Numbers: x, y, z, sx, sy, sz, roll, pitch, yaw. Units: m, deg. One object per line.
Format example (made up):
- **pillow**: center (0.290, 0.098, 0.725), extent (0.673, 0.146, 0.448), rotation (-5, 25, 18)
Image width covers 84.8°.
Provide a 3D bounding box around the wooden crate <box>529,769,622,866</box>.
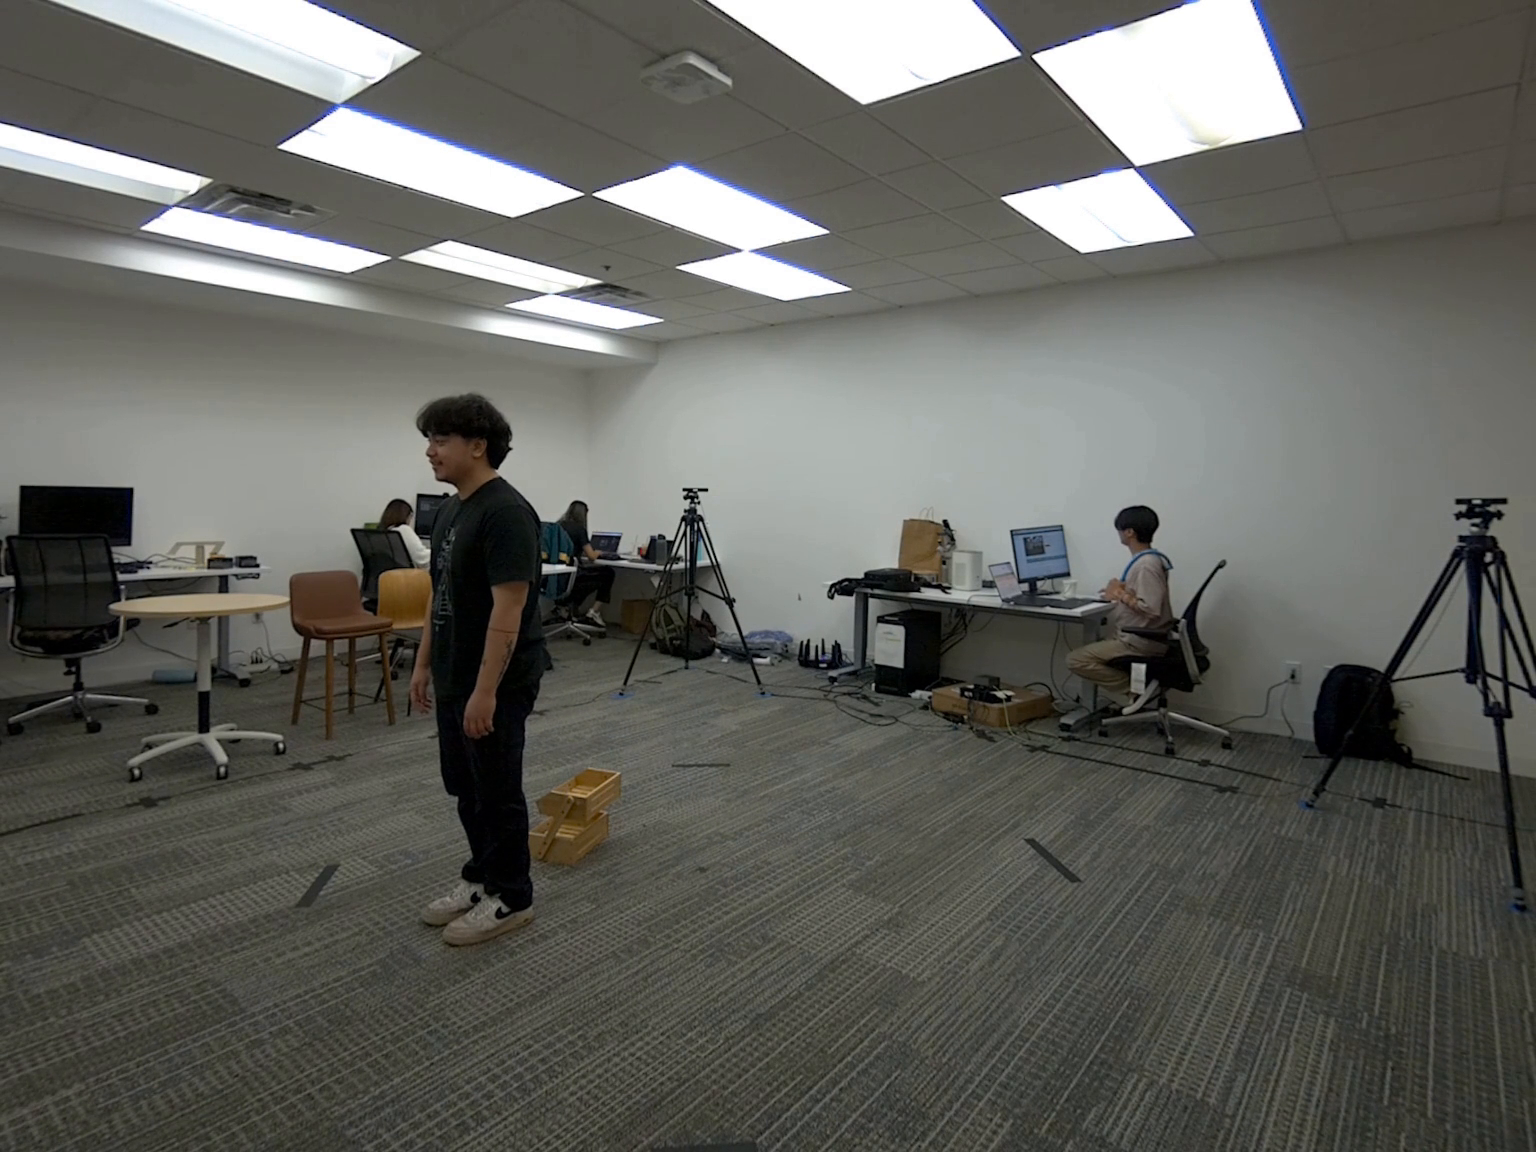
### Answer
- **wooden crate**: center (-0.787, 0.910, 3.288), extent (0.308, 0.272, 0.319), rotation (3, 4, 17)
